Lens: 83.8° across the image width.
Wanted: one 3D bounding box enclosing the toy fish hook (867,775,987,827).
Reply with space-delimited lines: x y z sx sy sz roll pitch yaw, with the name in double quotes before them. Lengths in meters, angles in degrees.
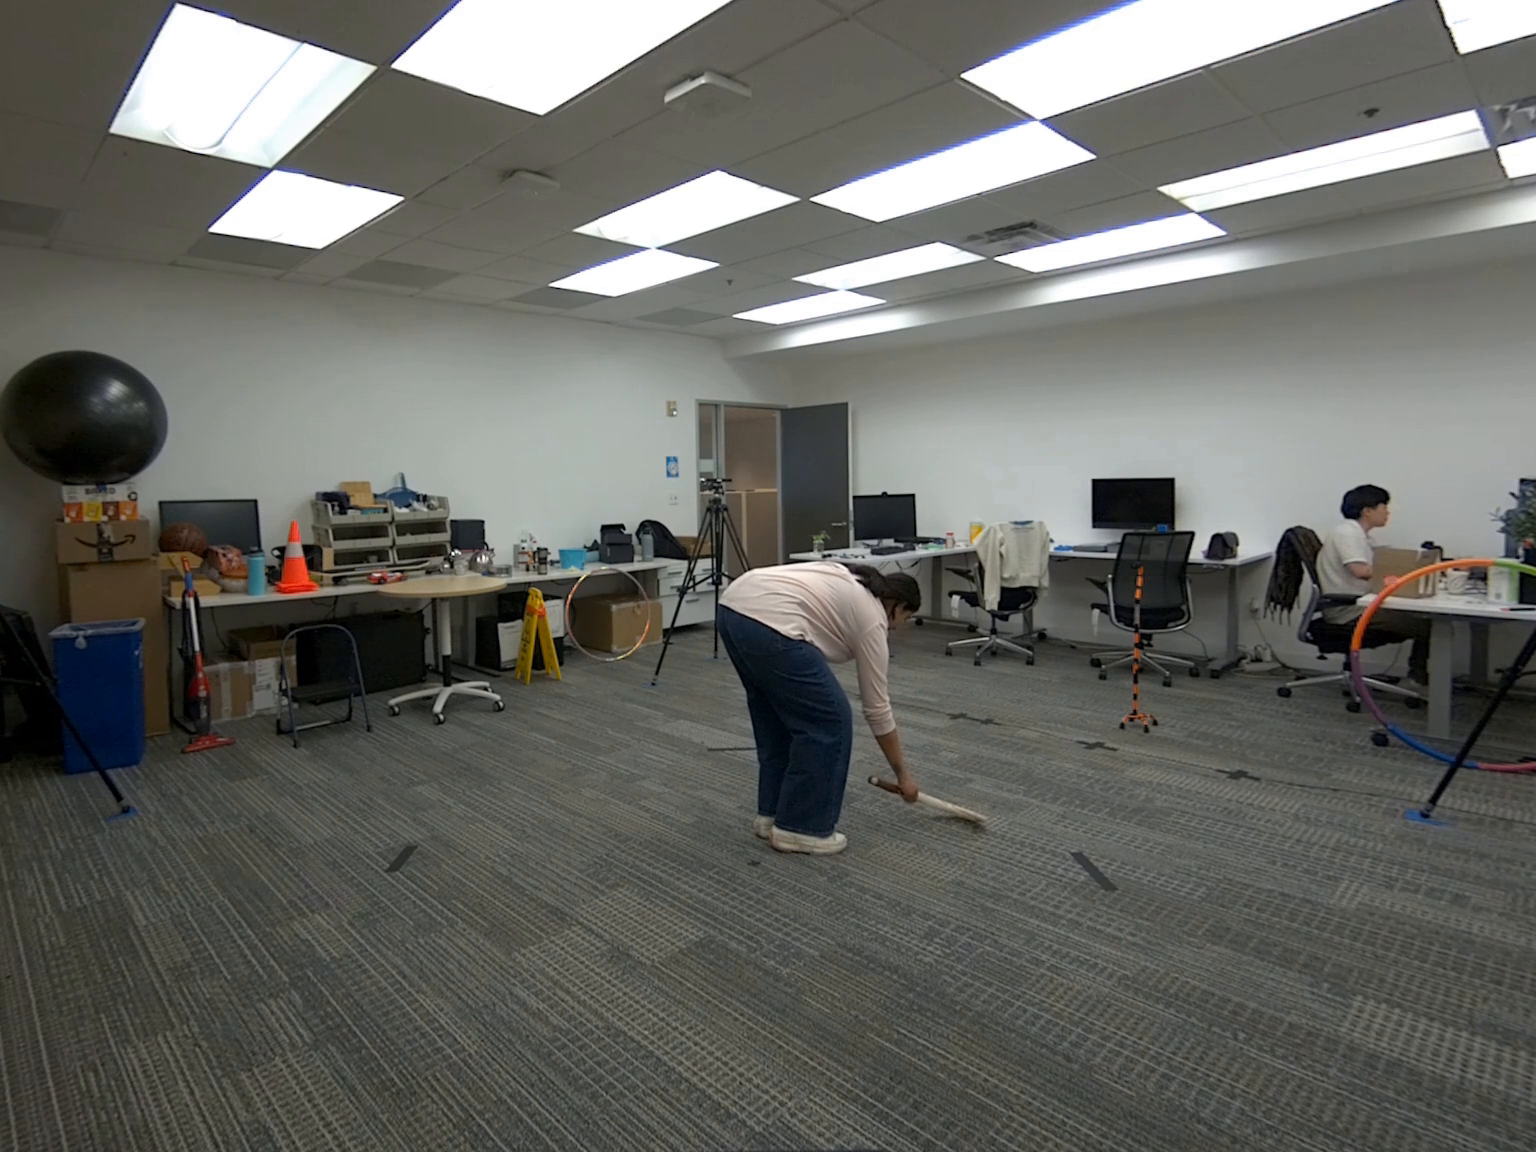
"toy fish hook" 0.630 0.876 3.366 0.497 0.049 0.226 22 -17 -15
